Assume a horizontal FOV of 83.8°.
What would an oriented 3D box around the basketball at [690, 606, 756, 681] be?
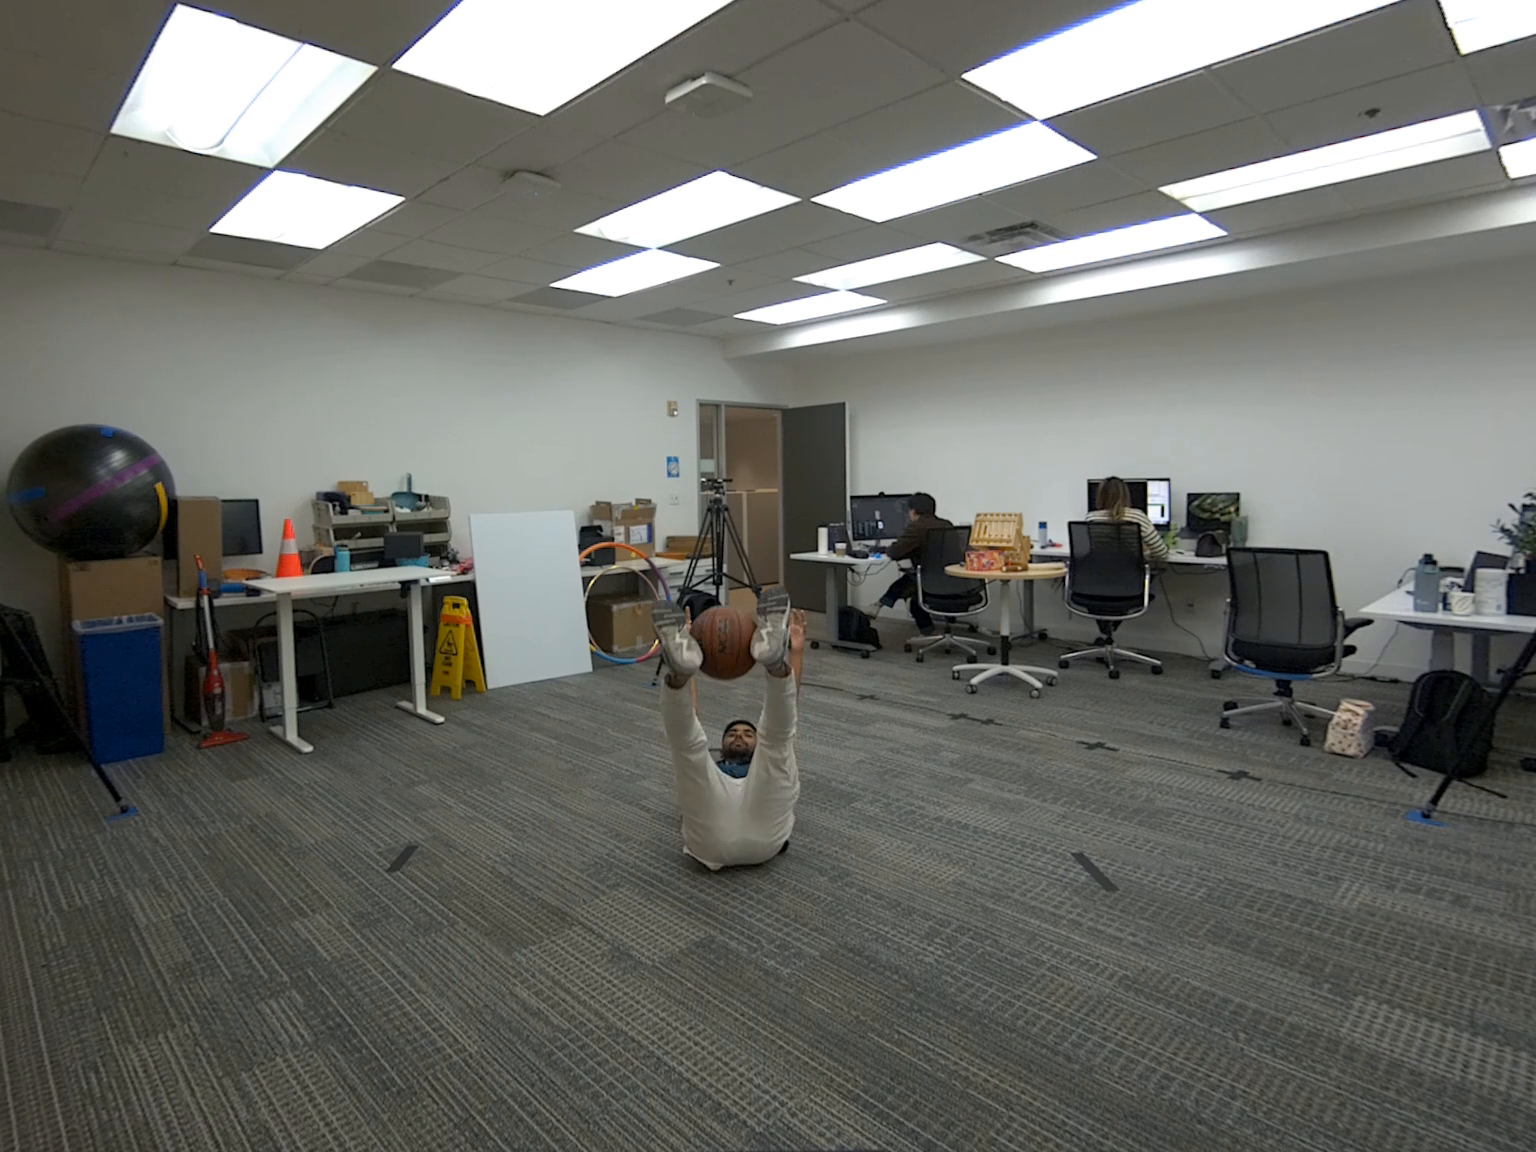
[{"bbox_3d":[-0.132,0.238,2.719,0.236,0.235,0.237,-1,5,-2],"label":"basketball"}]
